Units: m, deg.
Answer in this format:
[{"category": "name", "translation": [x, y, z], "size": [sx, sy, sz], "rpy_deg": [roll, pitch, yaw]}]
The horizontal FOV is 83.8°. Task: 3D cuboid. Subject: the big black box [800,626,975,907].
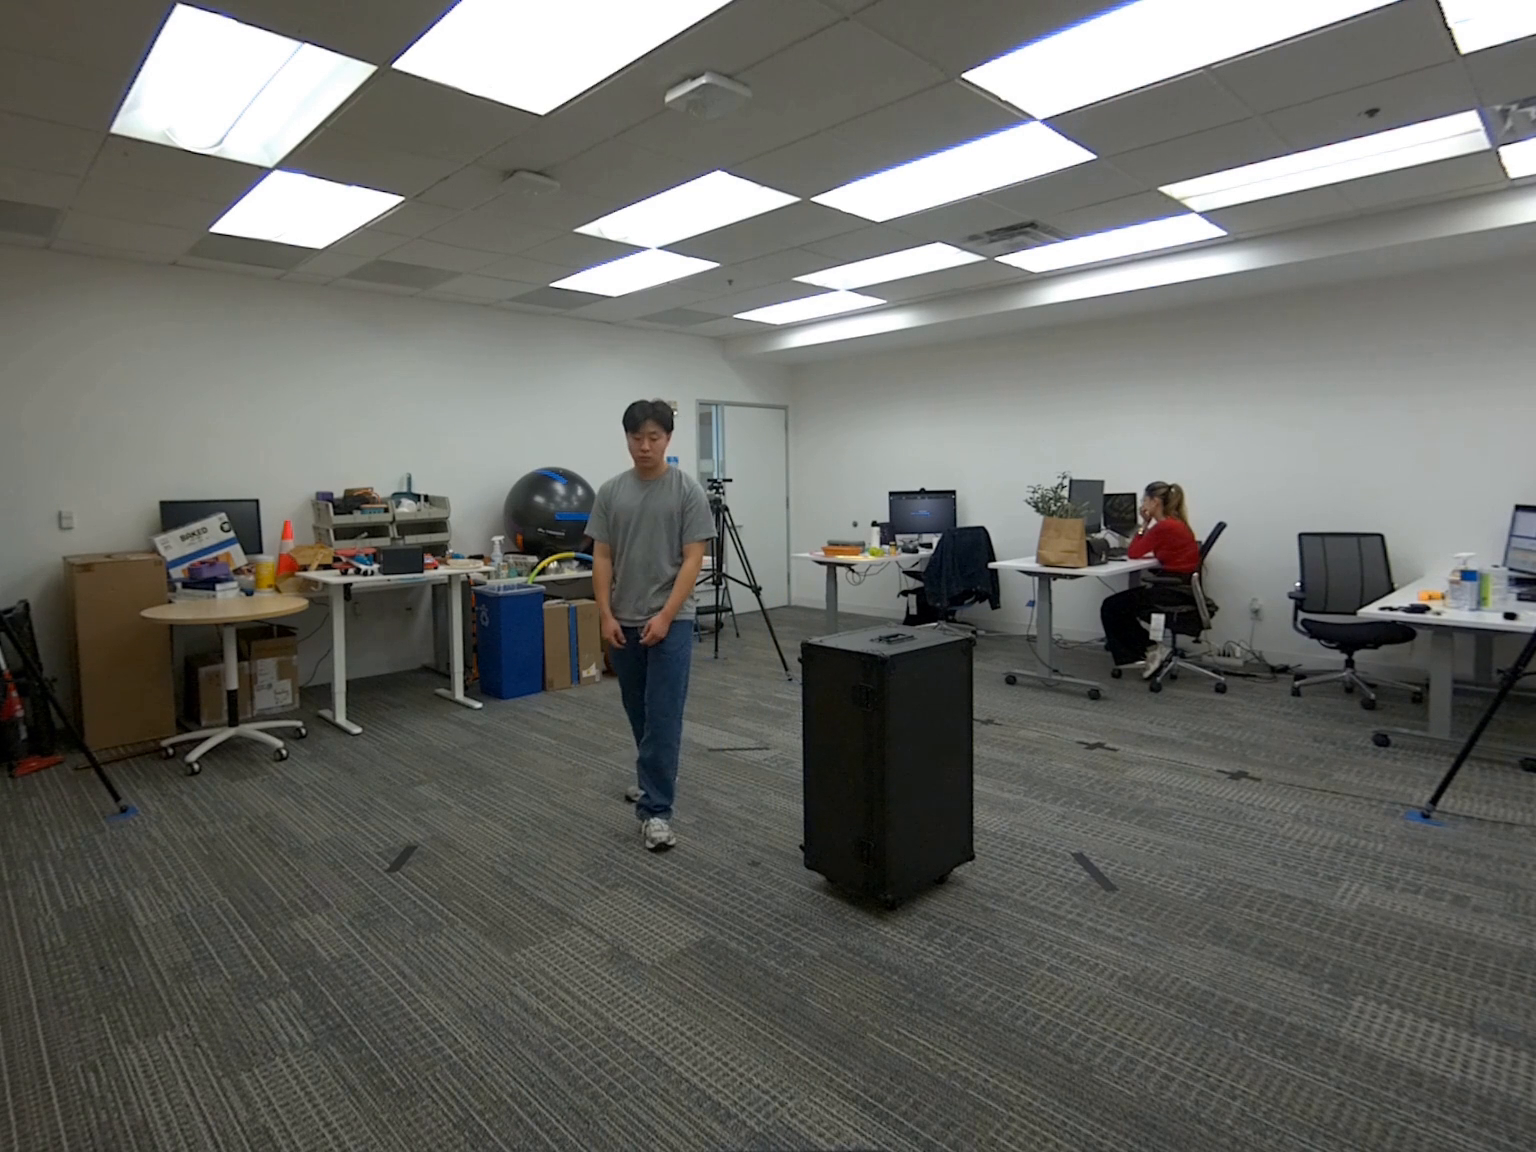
[{"category": "big black box", "translation": [0.404, 0.631, 2.914], "size": [0.507, 0.859, 0.408], "rpy_deg": [-5, 5, -42]}]
